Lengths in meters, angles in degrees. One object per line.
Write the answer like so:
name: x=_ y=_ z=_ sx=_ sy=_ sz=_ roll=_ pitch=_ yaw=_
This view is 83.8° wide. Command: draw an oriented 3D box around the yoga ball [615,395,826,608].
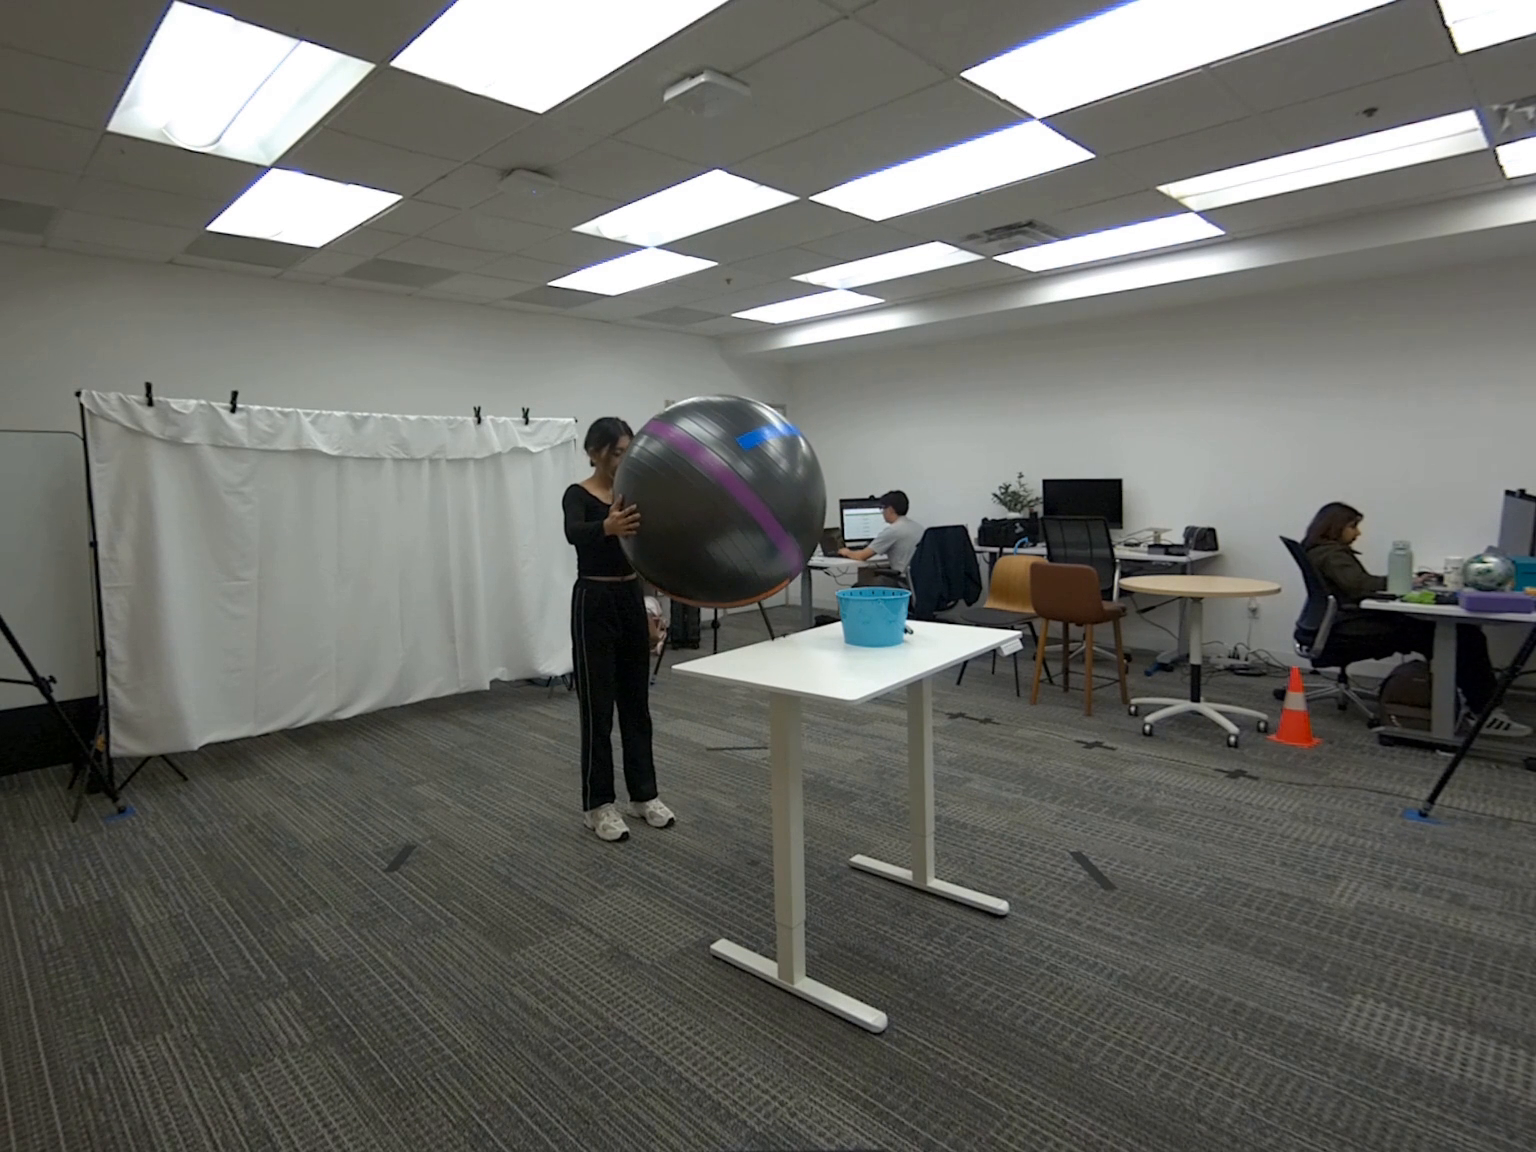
yoga ball: x=-0.174 y=-0.254 z=3.031 sx=0.757 sy=0.755 sz=0.762 roll=-1 pitch=5 yaw=-2
